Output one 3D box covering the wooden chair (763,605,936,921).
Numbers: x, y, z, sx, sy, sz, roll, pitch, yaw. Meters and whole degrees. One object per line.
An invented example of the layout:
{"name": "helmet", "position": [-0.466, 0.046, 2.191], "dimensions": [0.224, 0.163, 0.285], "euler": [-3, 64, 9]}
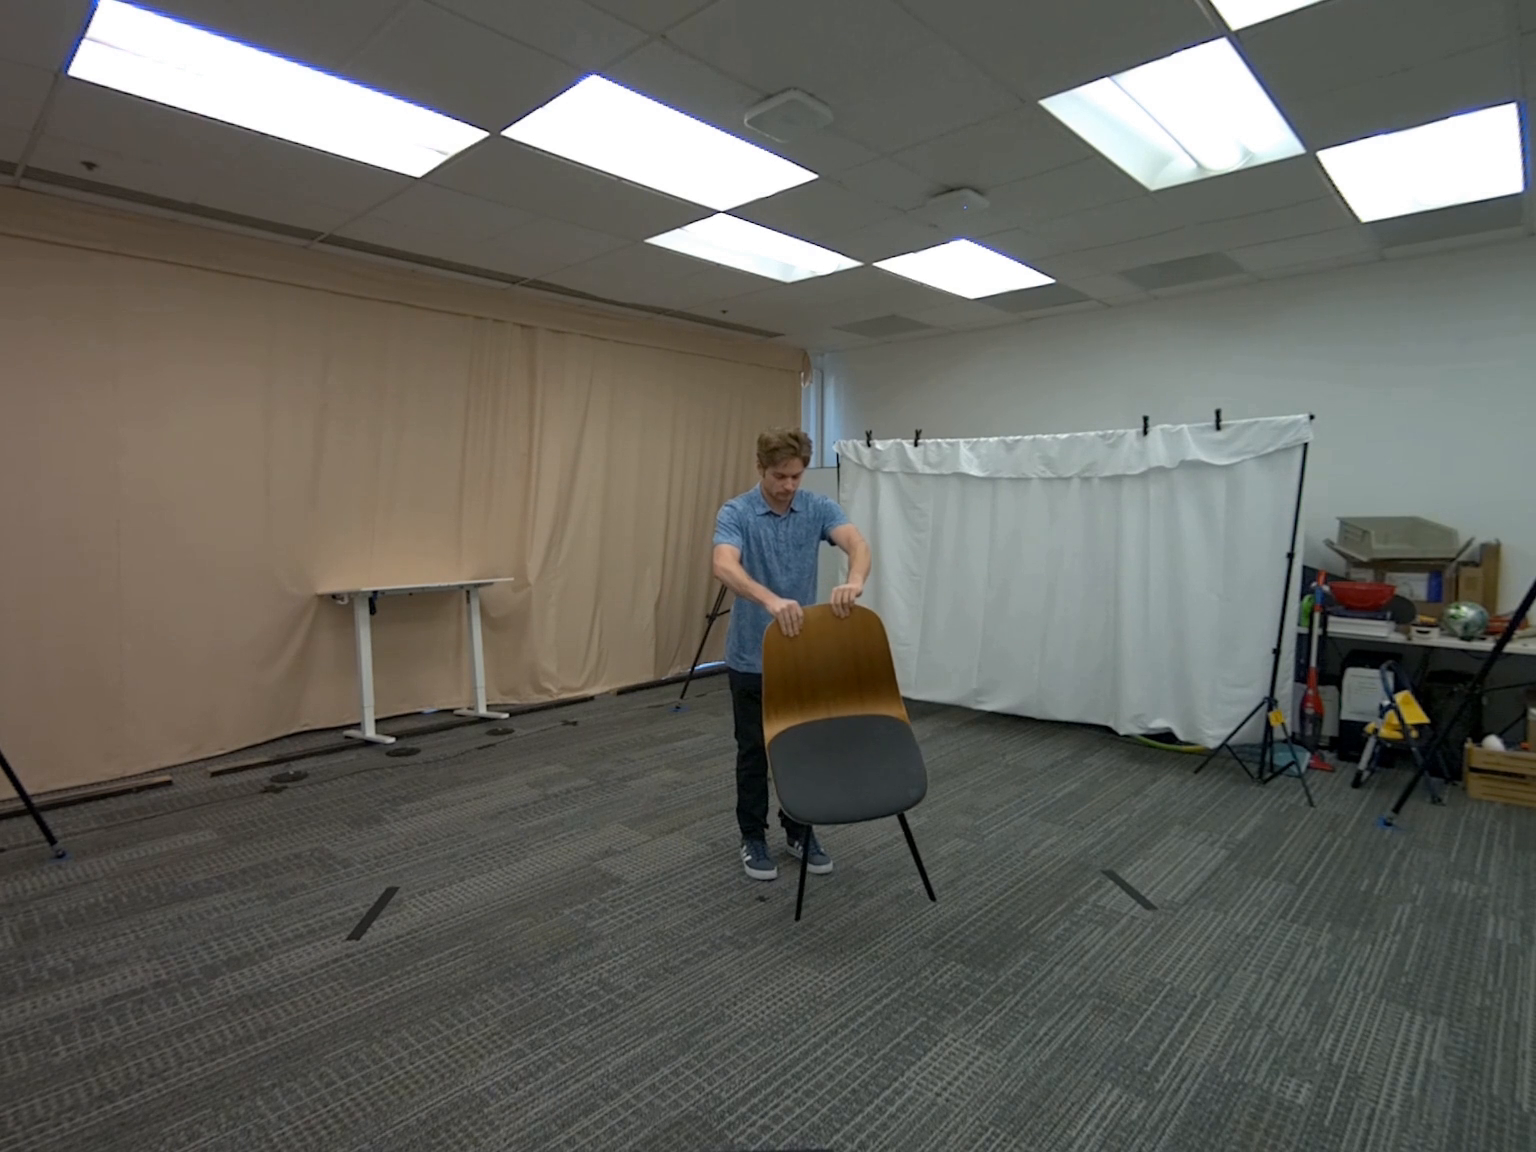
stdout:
{"name": "wooden chair", "position": [0.245, 0.597, 2.667], "dimensions": [0.478, 0.862, 0.532], "euler": [-8, 24, -1]}
